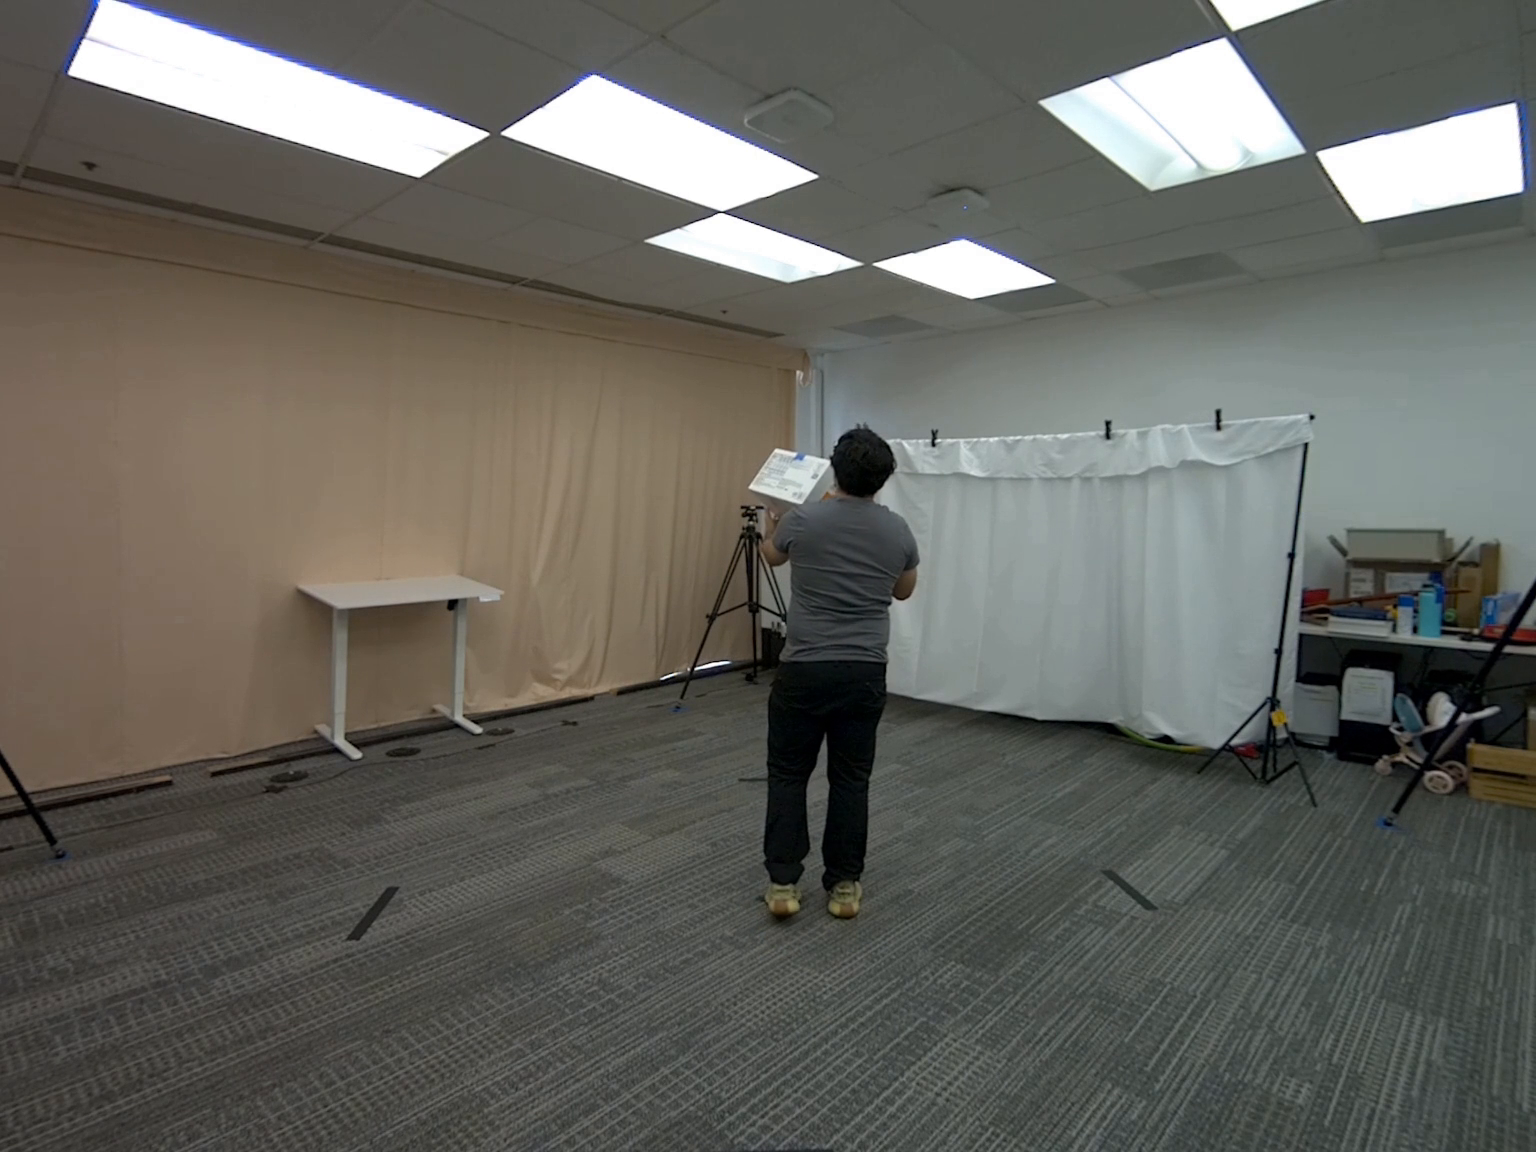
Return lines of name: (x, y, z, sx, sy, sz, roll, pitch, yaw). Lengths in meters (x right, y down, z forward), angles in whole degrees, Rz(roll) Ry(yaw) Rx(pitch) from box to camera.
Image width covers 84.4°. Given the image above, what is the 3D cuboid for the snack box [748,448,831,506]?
snack box: (0.194, -0.274, 3.289, 0.391, 0.205, 0.352, 42, -12, -37)
